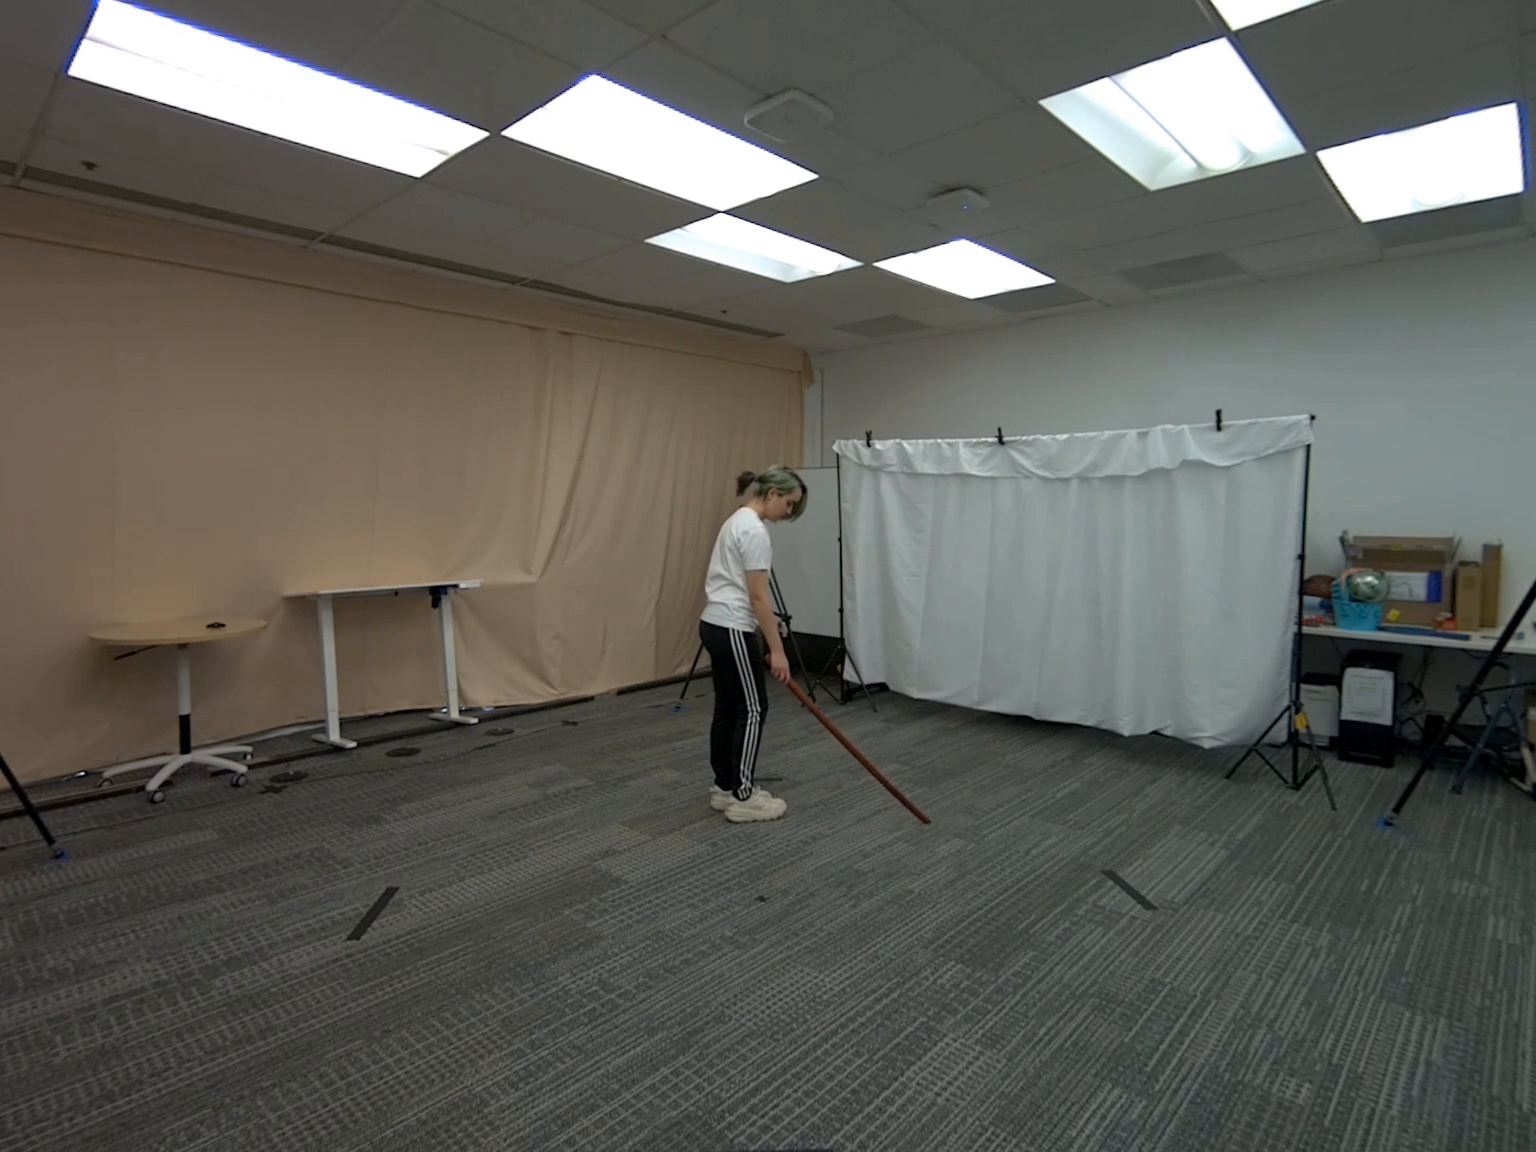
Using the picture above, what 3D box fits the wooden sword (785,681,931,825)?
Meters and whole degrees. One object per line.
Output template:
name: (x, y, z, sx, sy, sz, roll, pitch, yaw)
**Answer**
wooden sword: (0.351, 0.720, 3.681, 0.052, 1.022, 0.024, -41, 3, 42)
